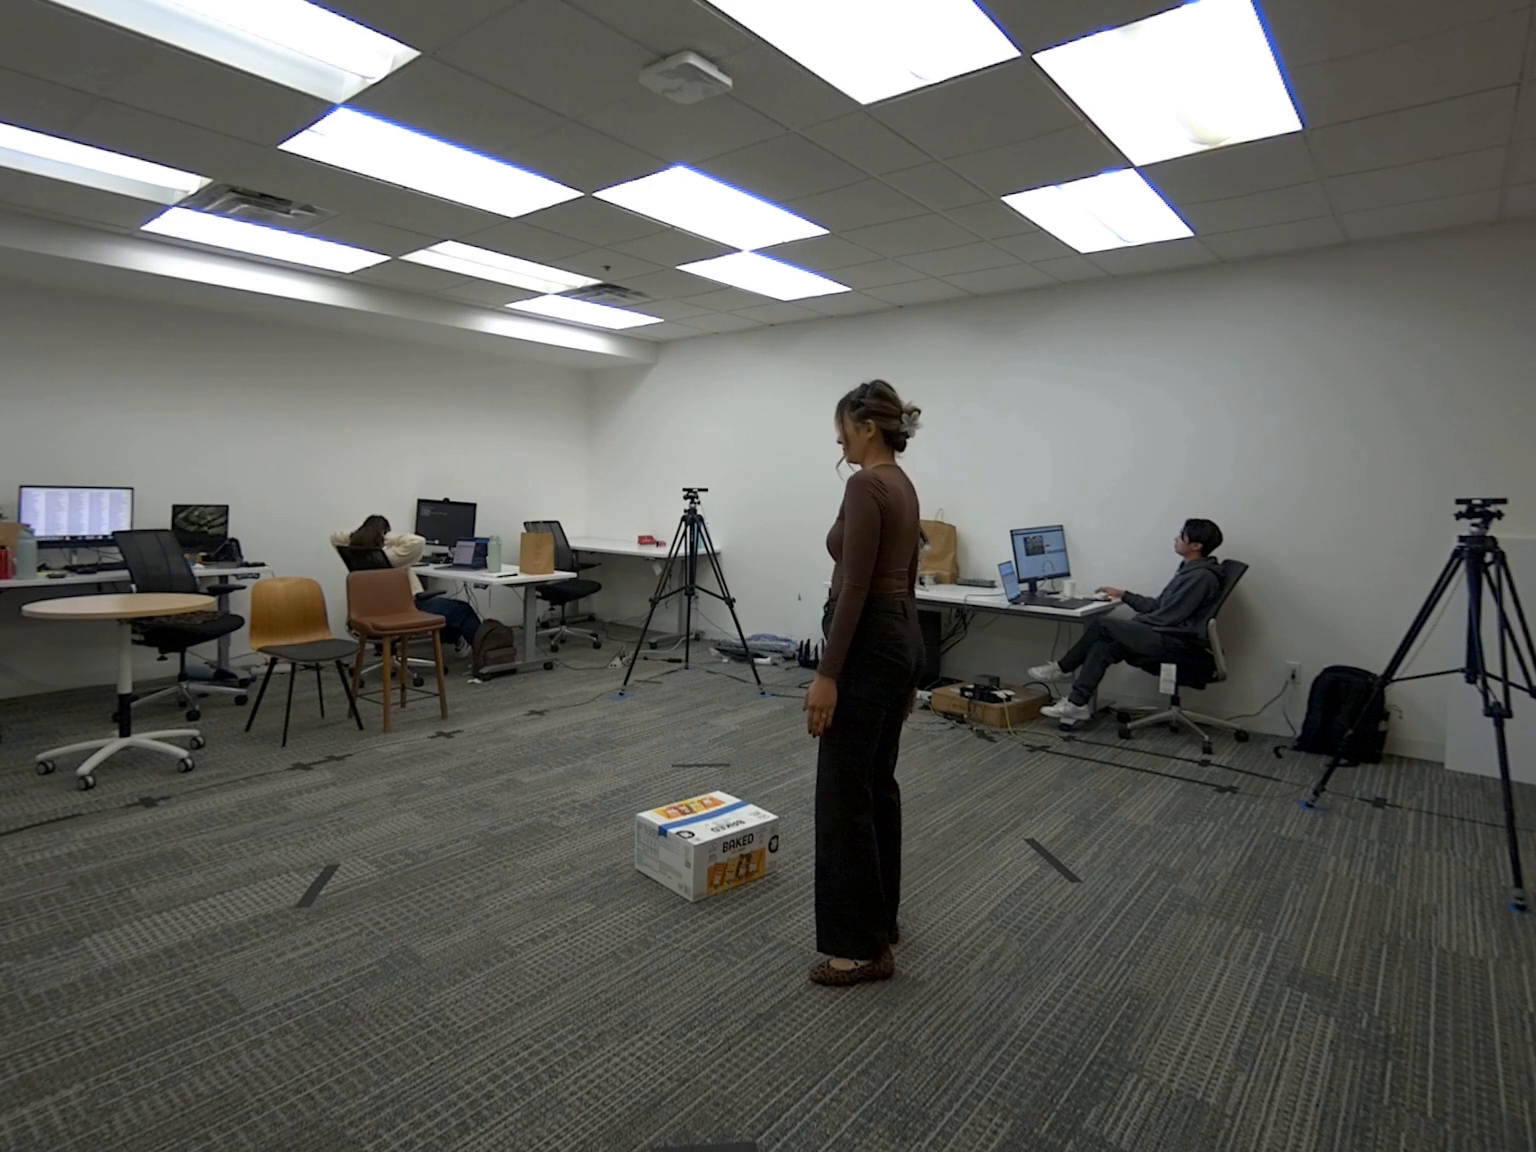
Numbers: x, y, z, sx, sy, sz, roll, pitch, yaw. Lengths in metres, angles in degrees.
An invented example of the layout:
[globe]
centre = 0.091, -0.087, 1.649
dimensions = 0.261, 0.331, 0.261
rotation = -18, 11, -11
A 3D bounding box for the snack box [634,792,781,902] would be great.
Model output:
[snack box]
centre = -0.233, 0.969, 3.093
dimensions = 0.393, 0.205, 0.352
rotation = -3, 6, -43
